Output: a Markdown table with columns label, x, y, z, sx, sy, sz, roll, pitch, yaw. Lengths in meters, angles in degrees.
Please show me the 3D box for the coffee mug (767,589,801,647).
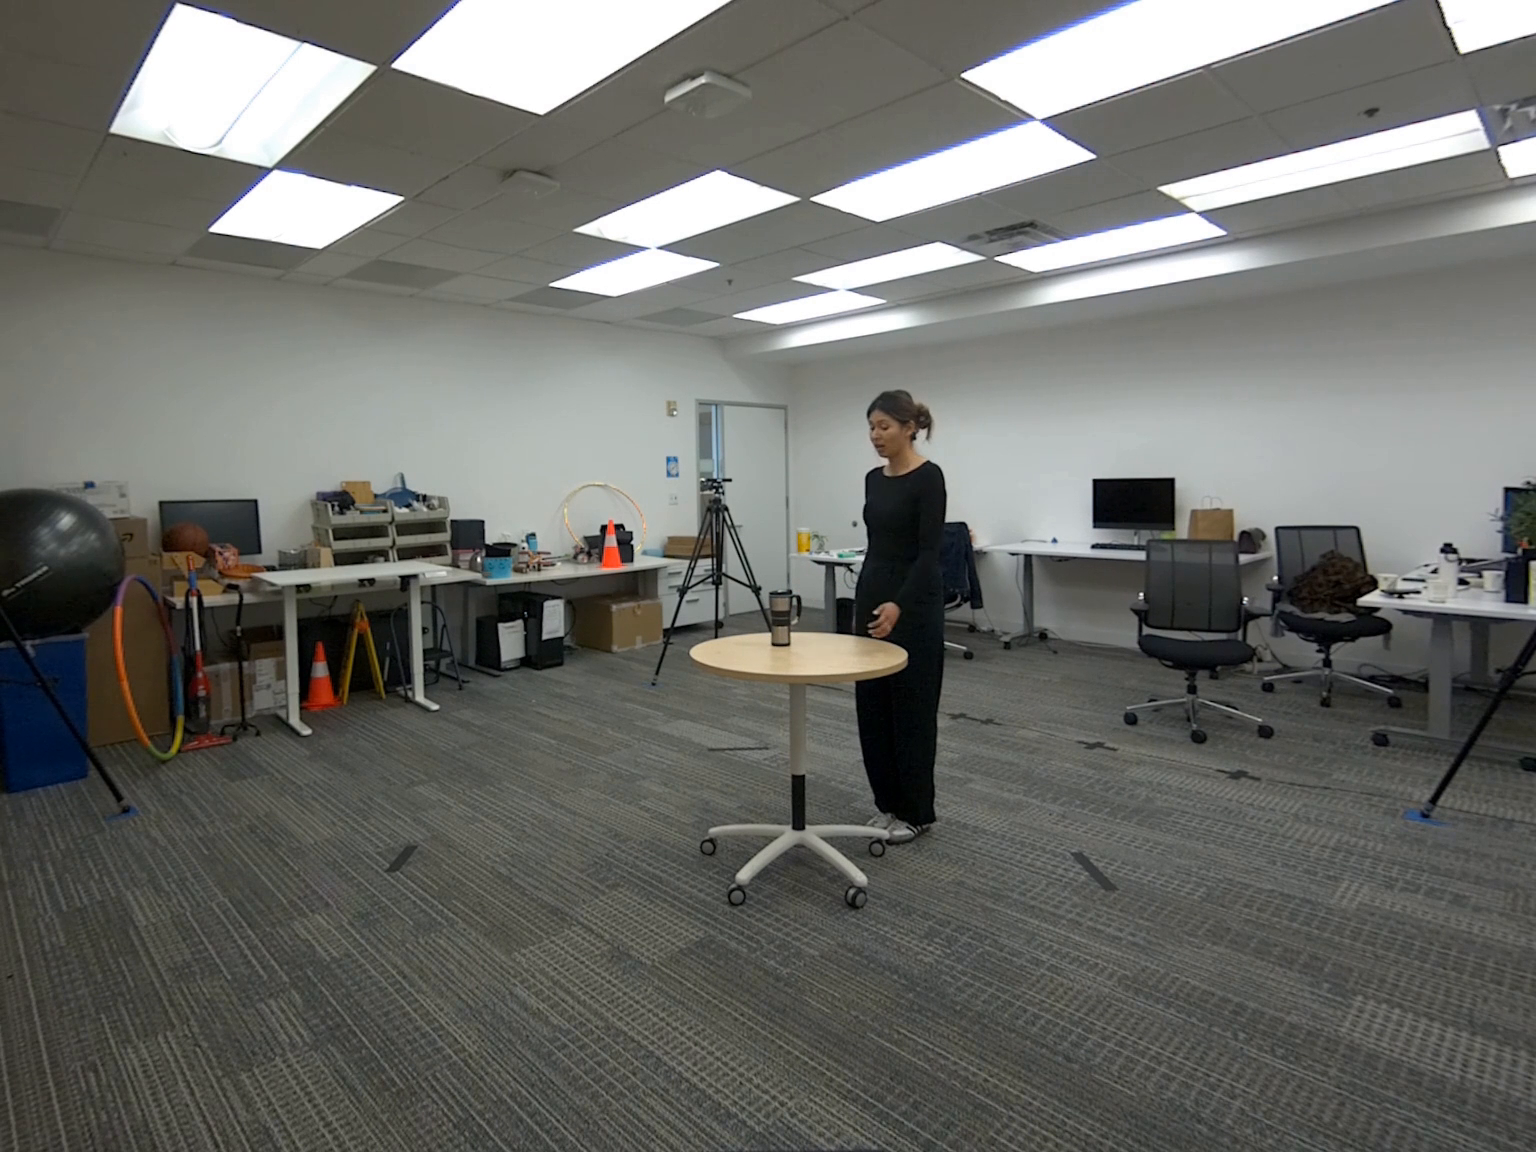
| label | x | y | z | sx | sy | sz | roll | pitch | yaw |
| --- | --- | --- | --- | --- | --- | --- | --- | --- | --- |
| coffee mug | 0.065 | 0.161 | 3.127 | 0.125 | 0.203 | 0.085 | -1 | -1 | 33 |
